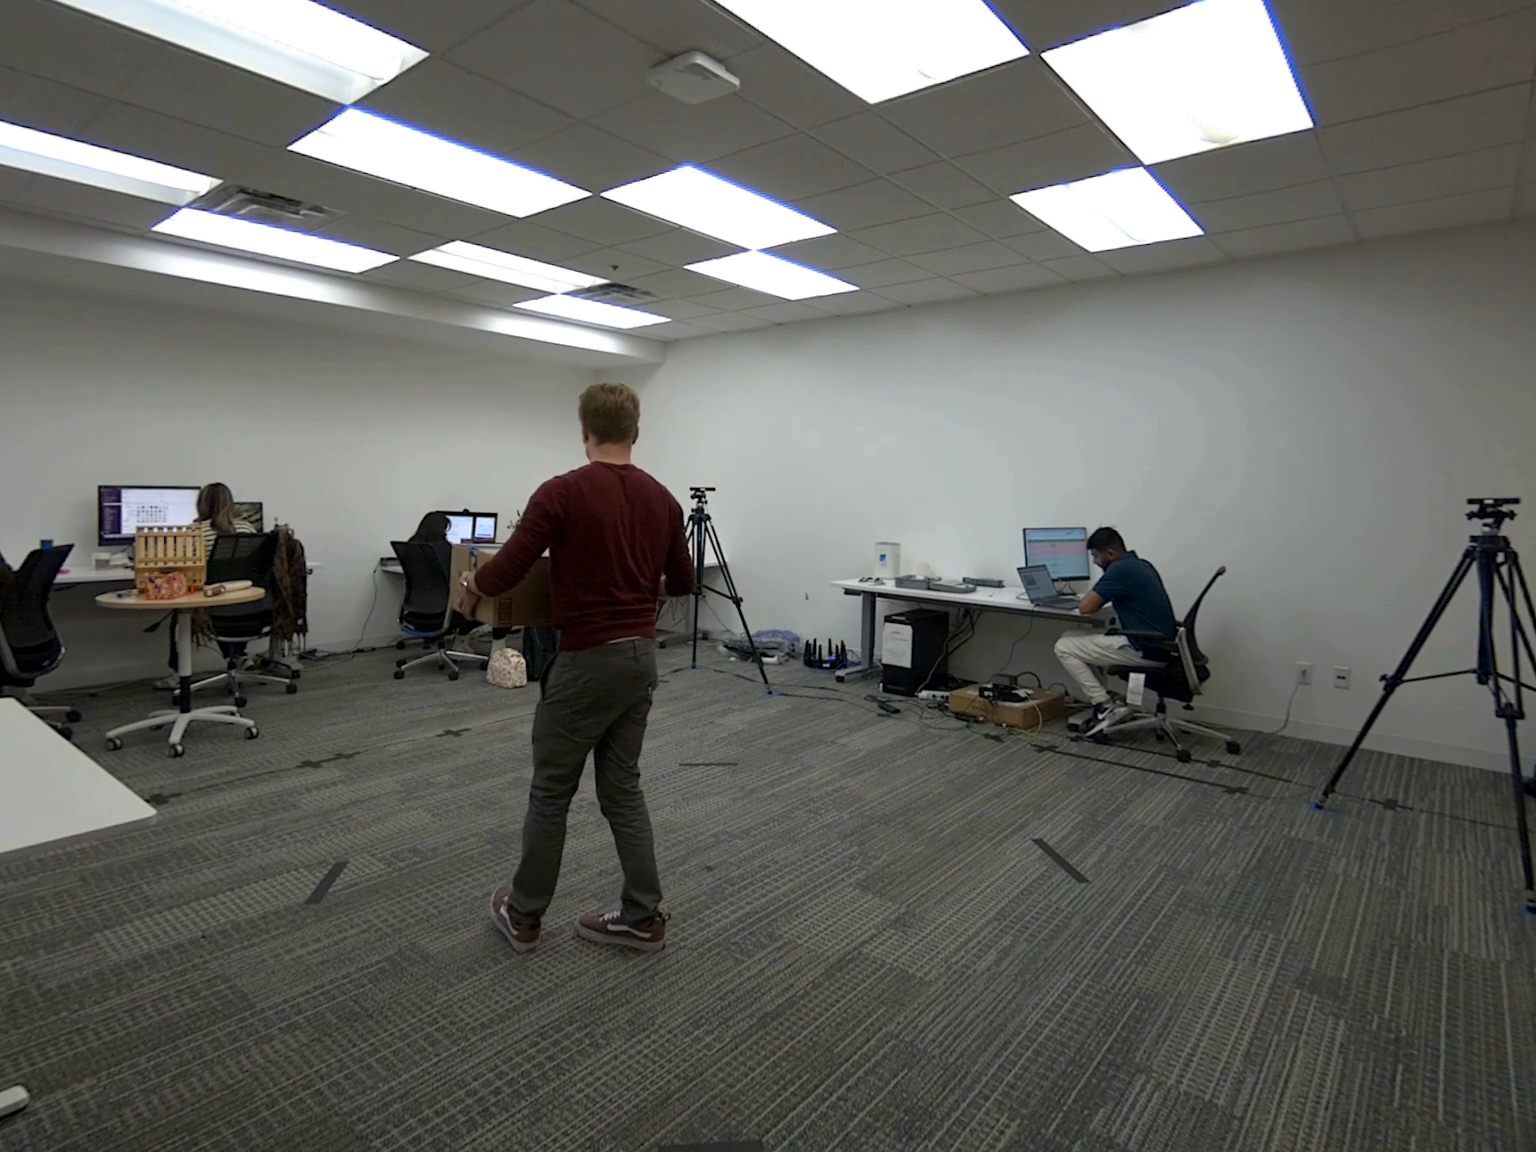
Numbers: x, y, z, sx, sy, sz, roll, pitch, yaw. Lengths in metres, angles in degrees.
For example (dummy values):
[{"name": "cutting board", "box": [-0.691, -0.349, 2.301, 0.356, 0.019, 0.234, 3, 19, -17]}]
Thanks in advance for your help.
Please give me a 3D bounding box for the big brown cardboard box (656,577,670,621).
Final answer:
[{"name": "big brown cardboard box", "box": [-0.722, 0.017, 2.821, 0.571, 0.232, 0.432, 1, 5, -38]}]
